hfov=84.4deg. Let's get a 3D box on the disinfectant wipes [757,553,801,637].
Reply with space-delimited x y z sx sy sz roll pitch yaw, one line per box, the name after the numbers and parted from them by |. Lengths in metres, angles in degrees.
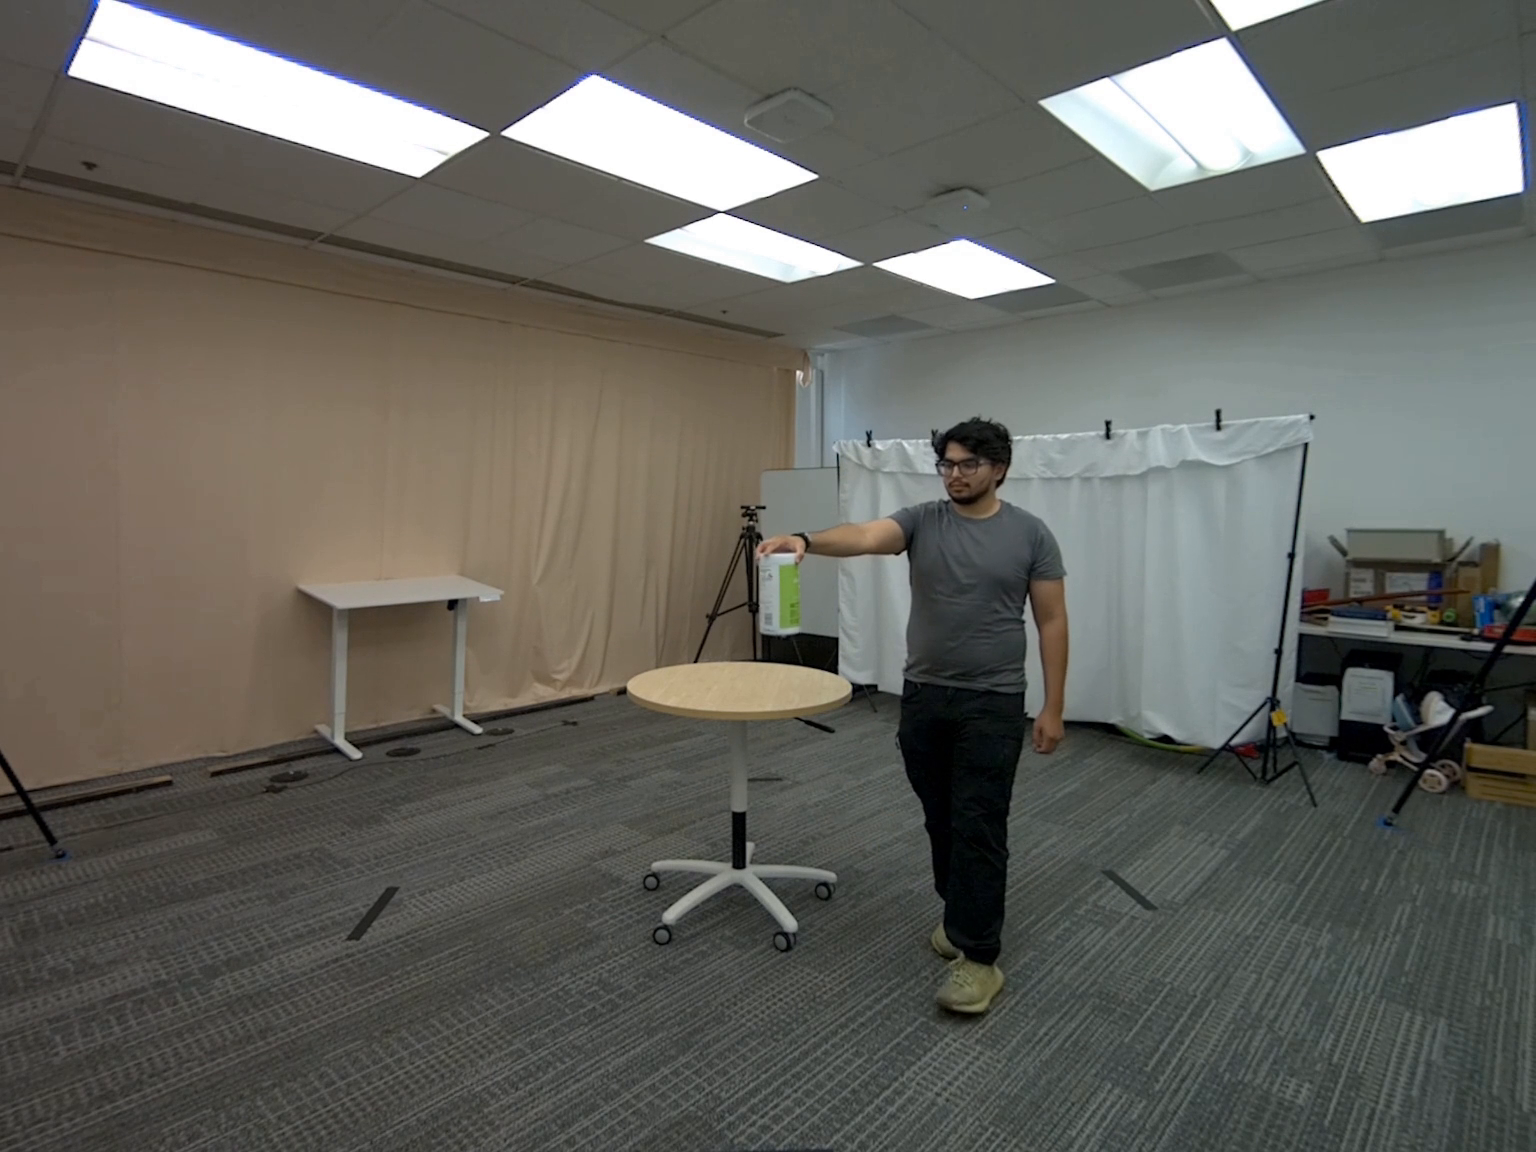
0.040 0.045 2.236 0.118 0.217 0.118 -1 5 -2 | disinfectant wipes
